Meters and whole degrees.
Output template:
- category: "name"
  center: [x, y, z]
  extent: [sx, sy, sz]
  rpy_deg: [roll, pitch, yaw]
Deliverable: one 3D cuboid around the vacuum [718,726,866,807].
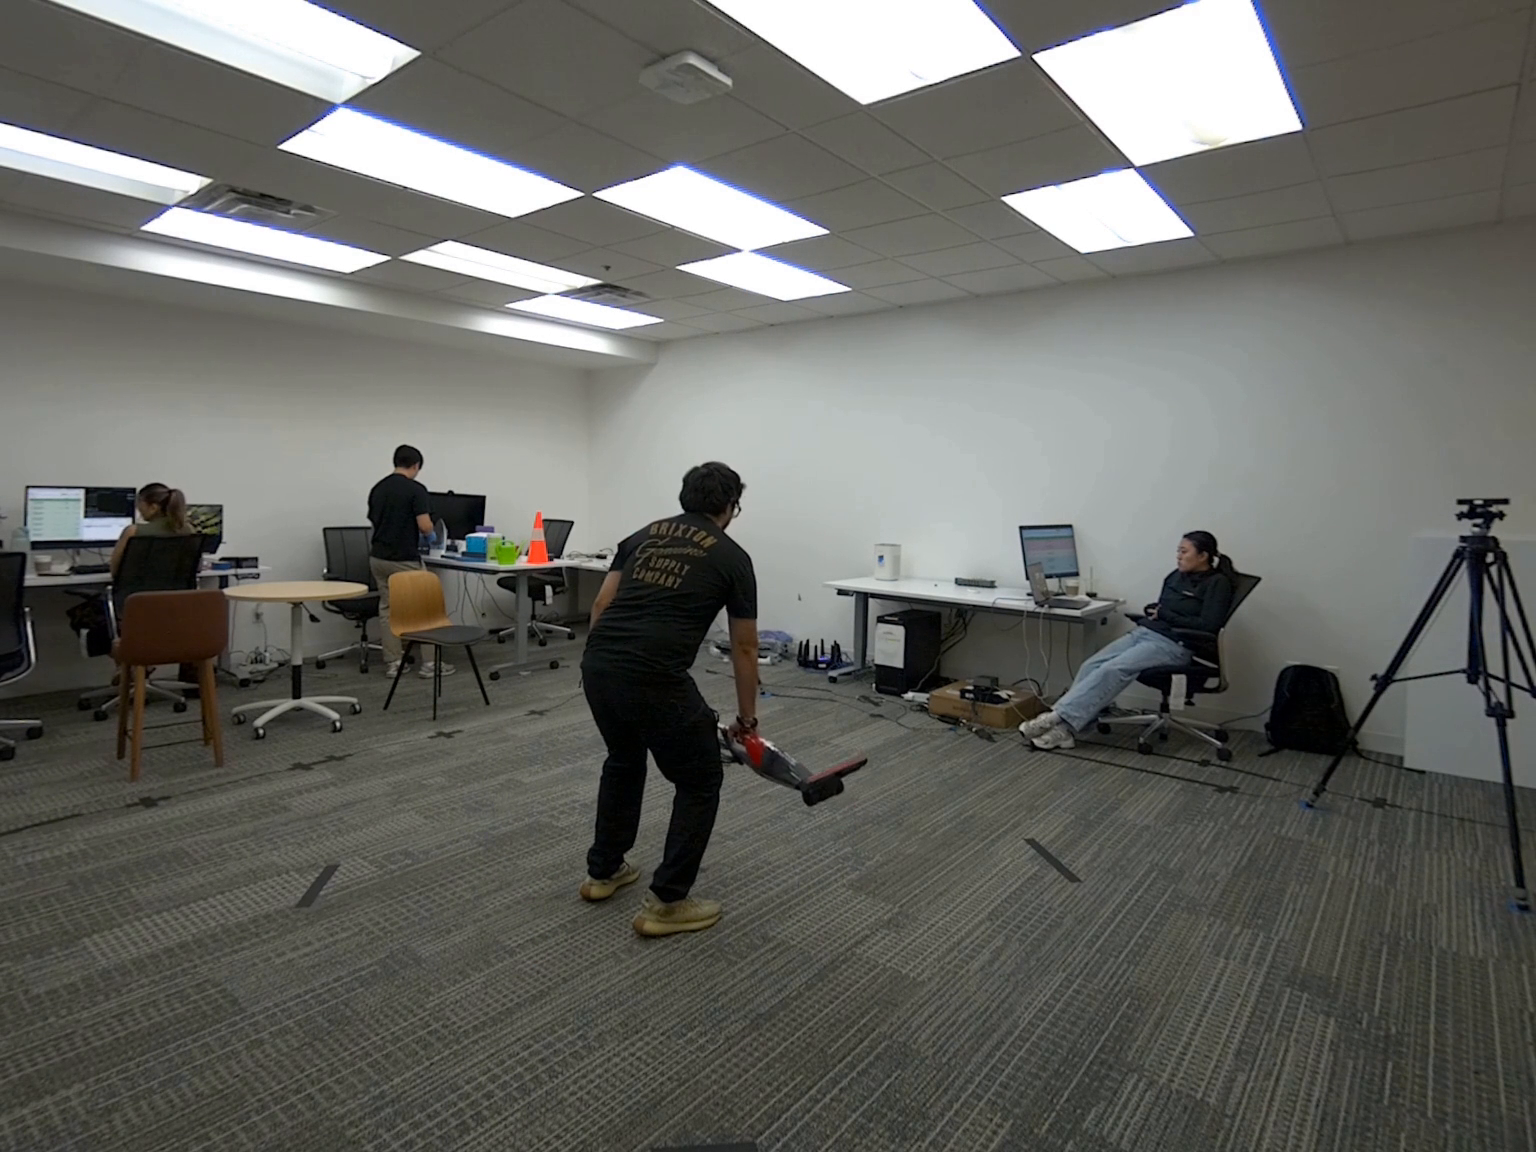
- category: "vacuum"
  center: [-0.157, 0.589, 3.007]
  extent: [0.247, 0.142, 1.085]
  rpy_deg: [-16, 15, -36]
